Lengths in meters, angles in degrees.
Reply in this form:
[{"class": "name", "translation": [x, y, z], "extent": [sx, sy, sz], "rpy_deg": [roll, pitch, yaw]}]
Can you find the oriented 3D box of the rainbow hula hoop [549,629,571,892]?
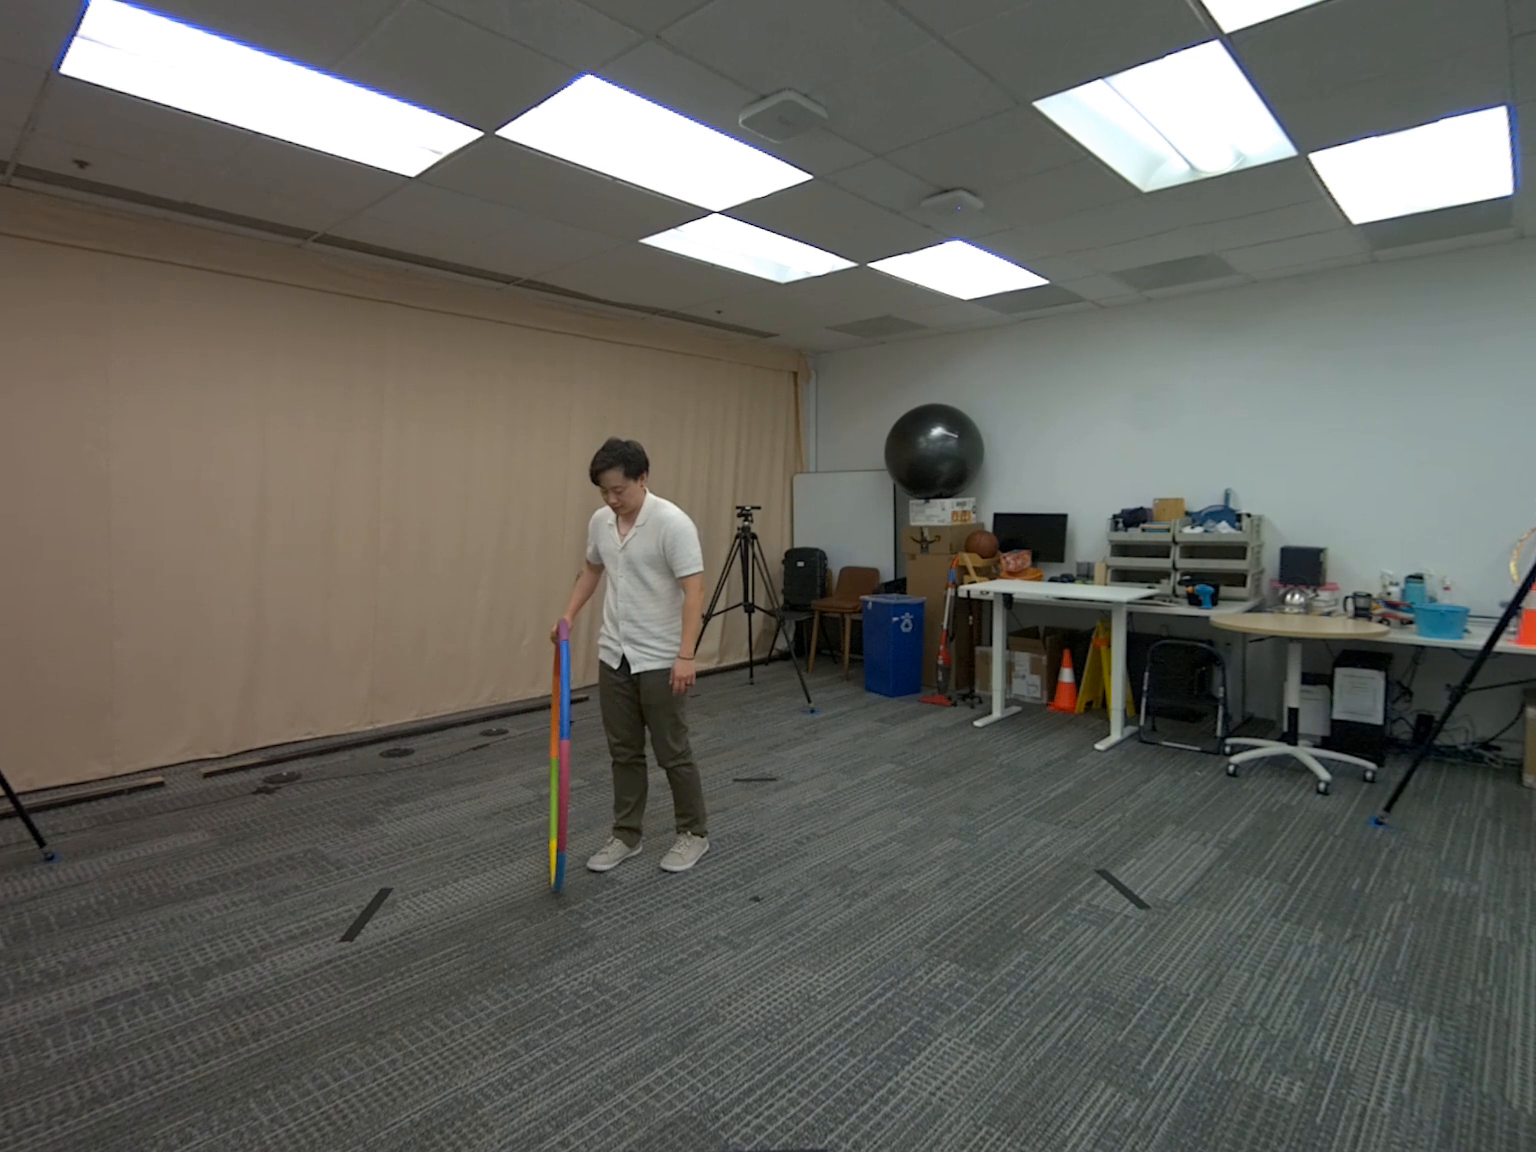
[{"class": "rainbow hula hoop", "translation": [-0.771, 0.657, 3.143], "extent": [0.035, 0.977, 0.994], "rpy_deg": [2, 3, -15]}]
